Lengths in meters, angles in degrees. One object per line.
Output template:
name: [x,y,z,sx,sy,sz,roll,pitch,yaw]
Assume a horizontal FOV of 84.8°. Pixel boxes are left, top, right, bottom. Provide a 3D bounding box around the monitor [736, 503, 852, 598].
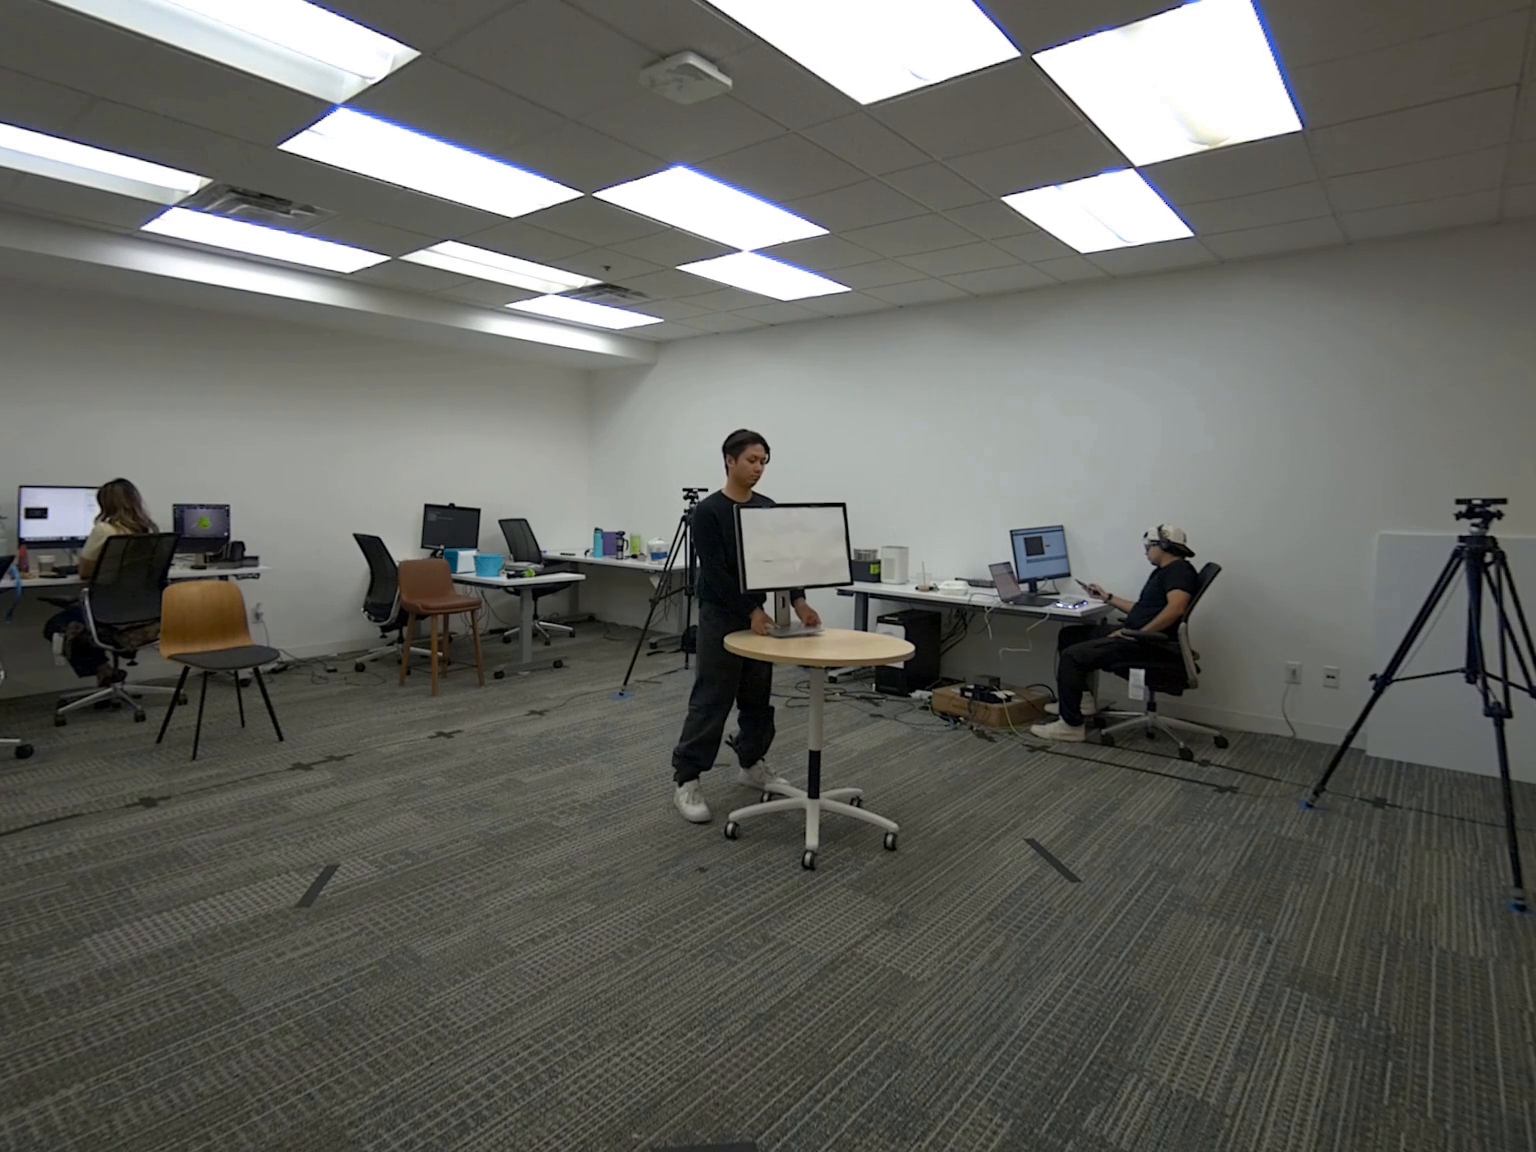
monitor: [0.088,-0.035,3.605,0.525,0.520,0.193,-3,6,-31]
